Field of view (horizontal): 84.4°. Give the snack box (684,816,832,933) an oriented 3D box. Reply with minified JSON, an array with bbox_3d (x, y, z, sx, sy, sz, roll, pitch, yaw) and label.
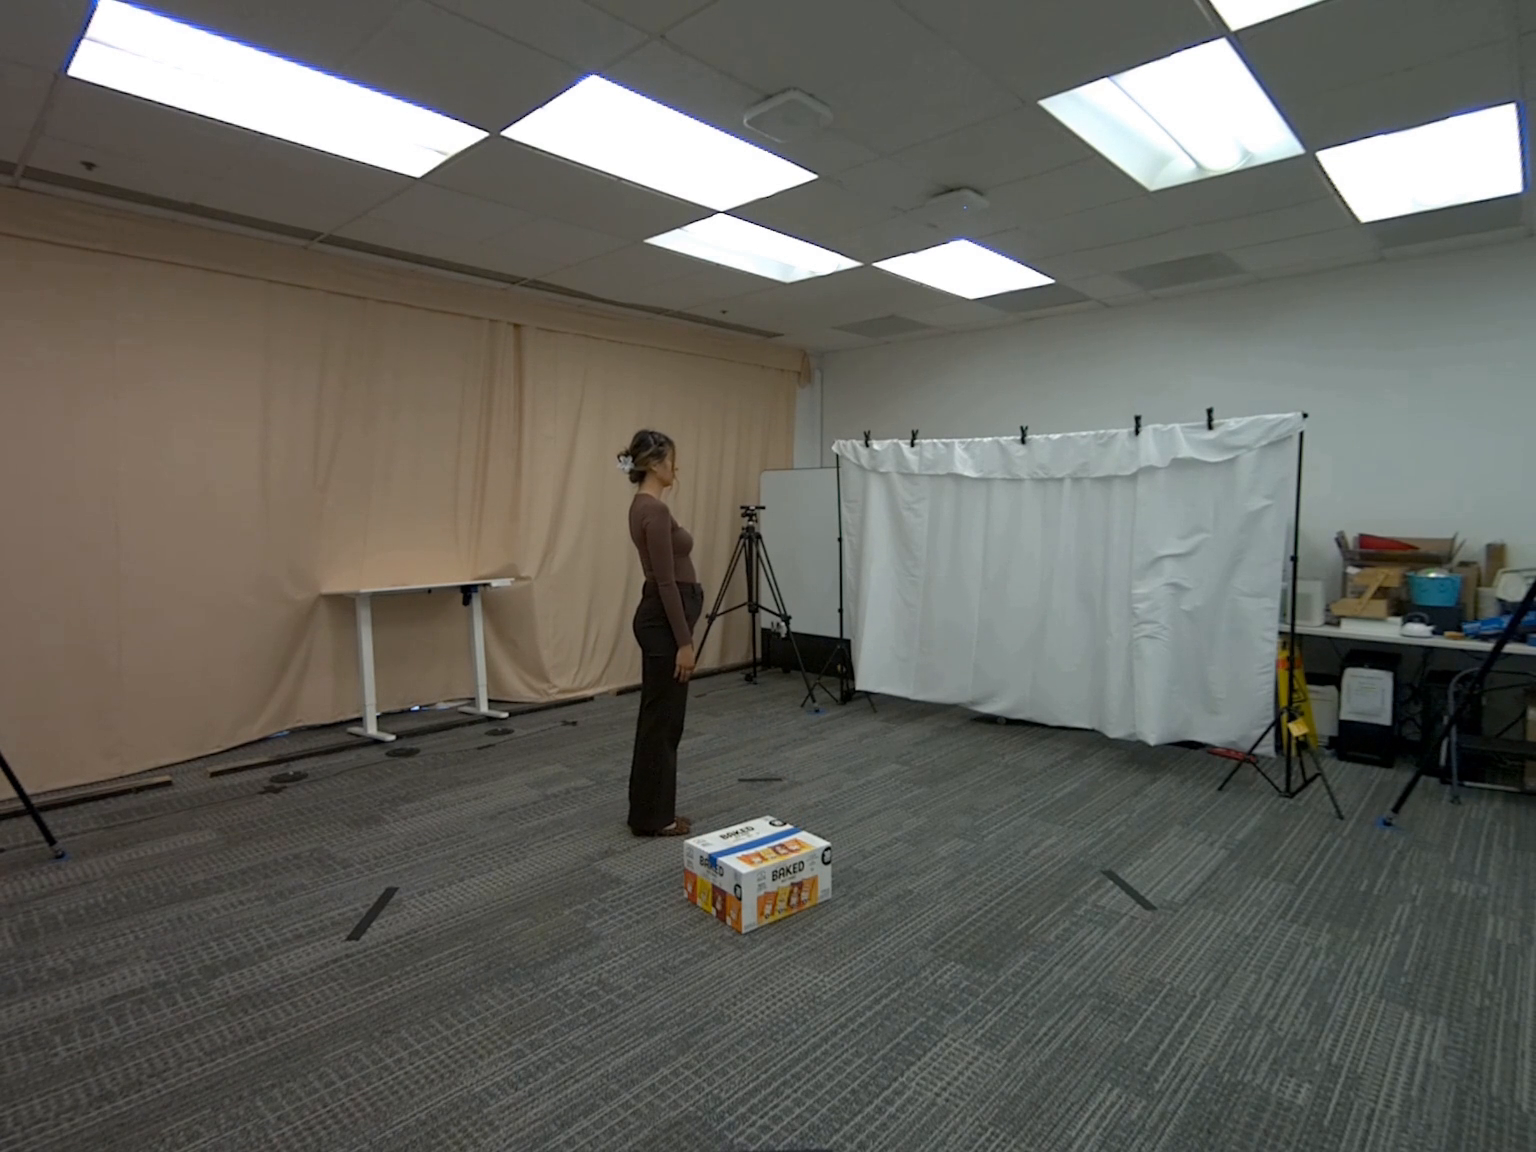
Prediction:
[{"bbox_3d":[-0.034,1.043,2.980,0.393,0.205,0.351,-4,6,-39],"label":"snack box"}]
